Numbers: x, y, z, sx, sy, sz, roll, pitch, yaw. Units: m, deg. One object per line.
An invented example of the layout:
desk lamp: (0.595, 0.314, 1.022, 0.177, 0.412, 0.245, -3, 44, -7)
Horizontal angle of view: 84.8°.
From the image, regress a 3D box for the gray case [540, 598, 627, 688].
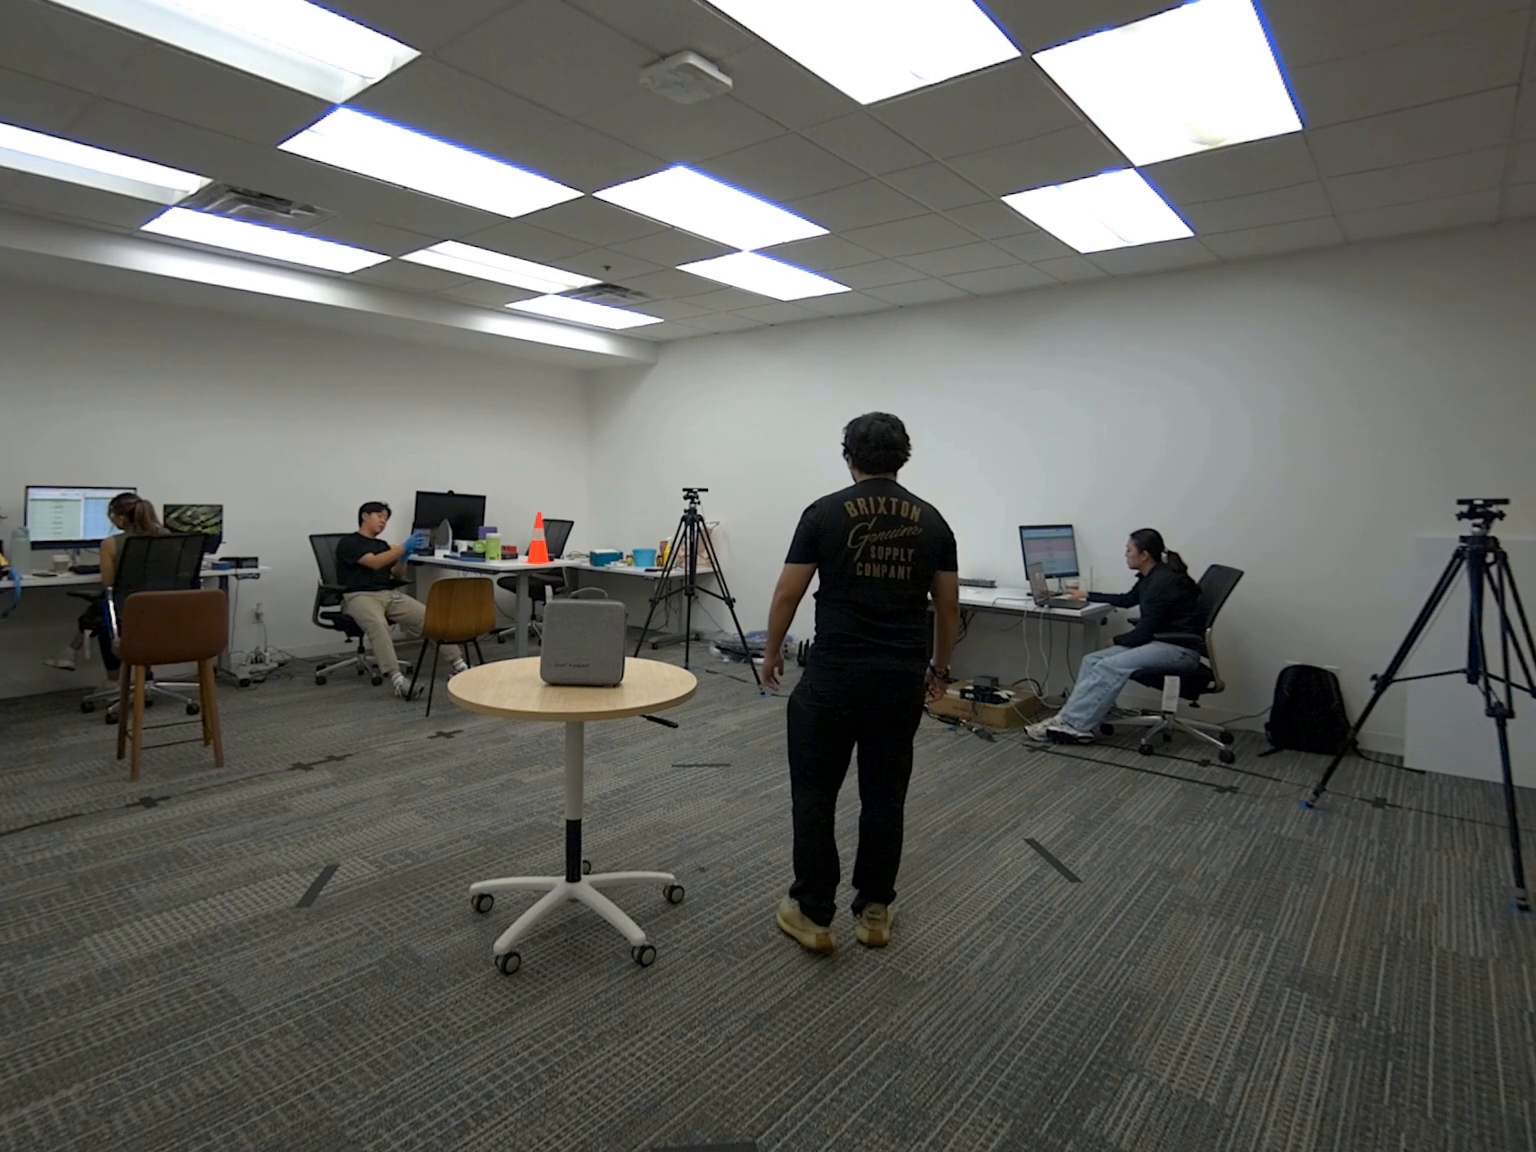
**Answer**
gray case: (-0.582, 0.198, 2.639, 0.257, 0.263, 0.103, 2, -9, 0)
